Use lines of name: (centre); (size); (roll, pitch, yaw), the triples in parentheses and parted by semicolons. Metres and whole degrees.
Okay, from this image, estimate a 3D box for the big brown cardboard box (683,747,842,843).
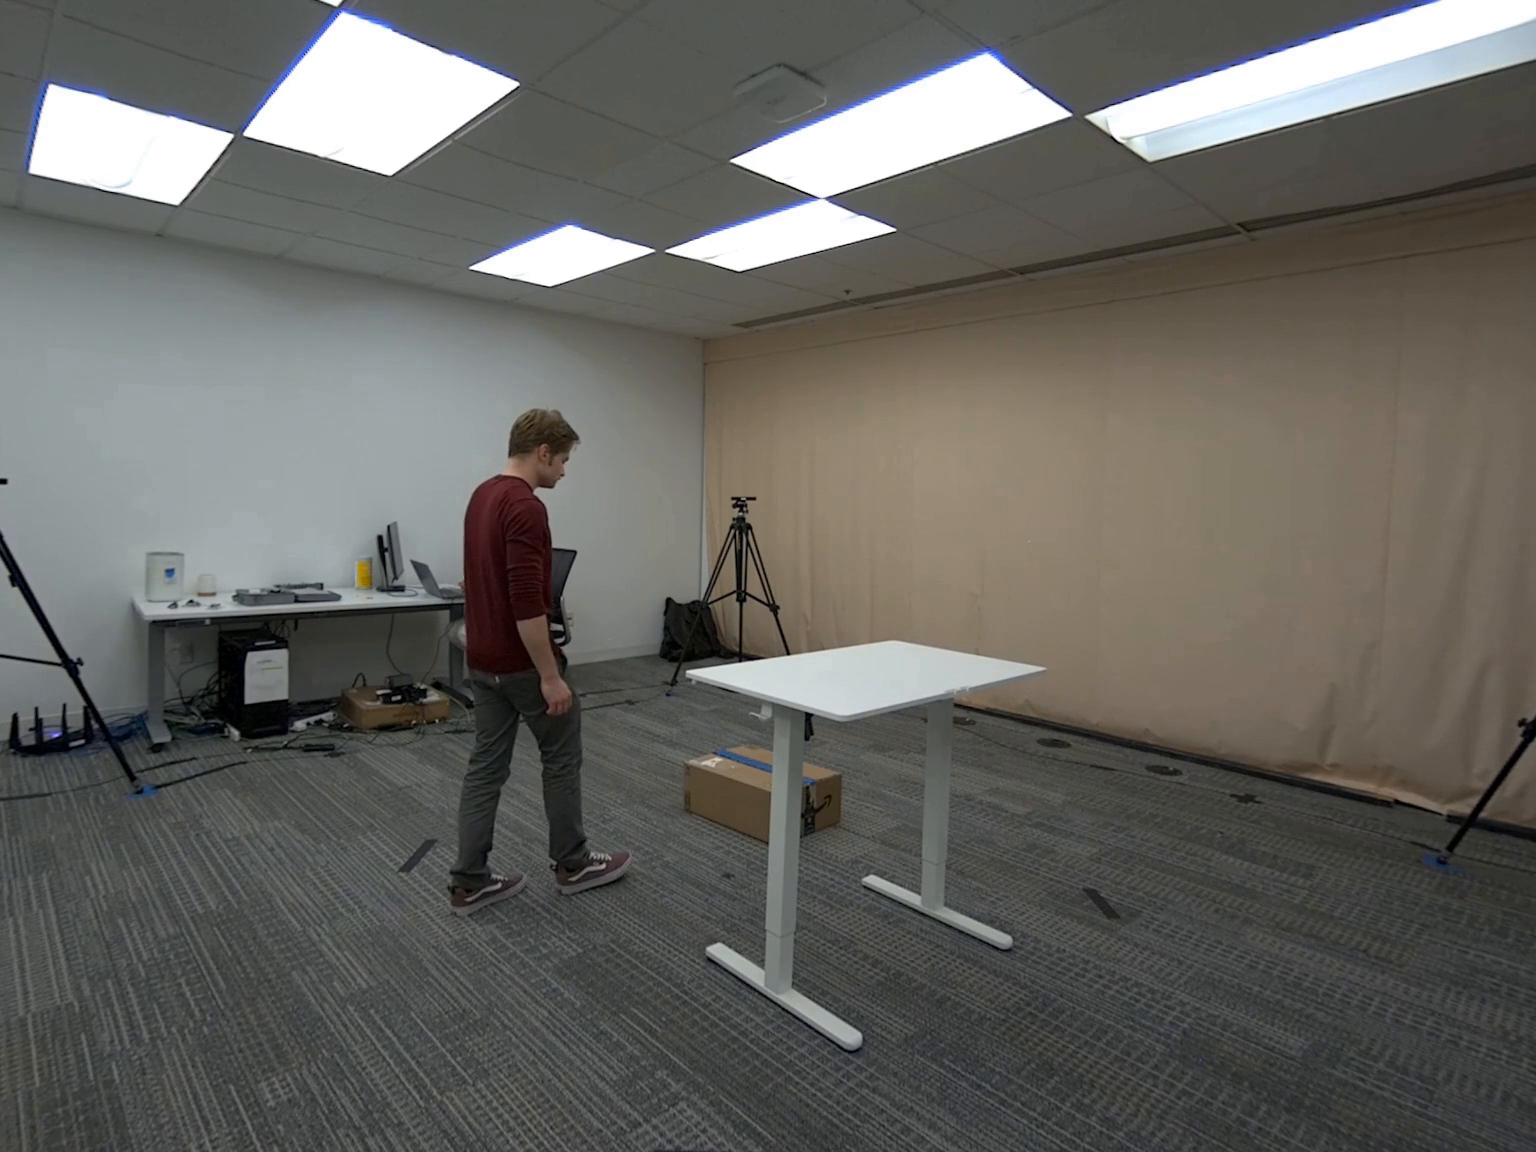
big brown cardboard box: (-0.040, 0.948, 3.712); (0.604, 0.232, 0.408); (6, 6, 43)
